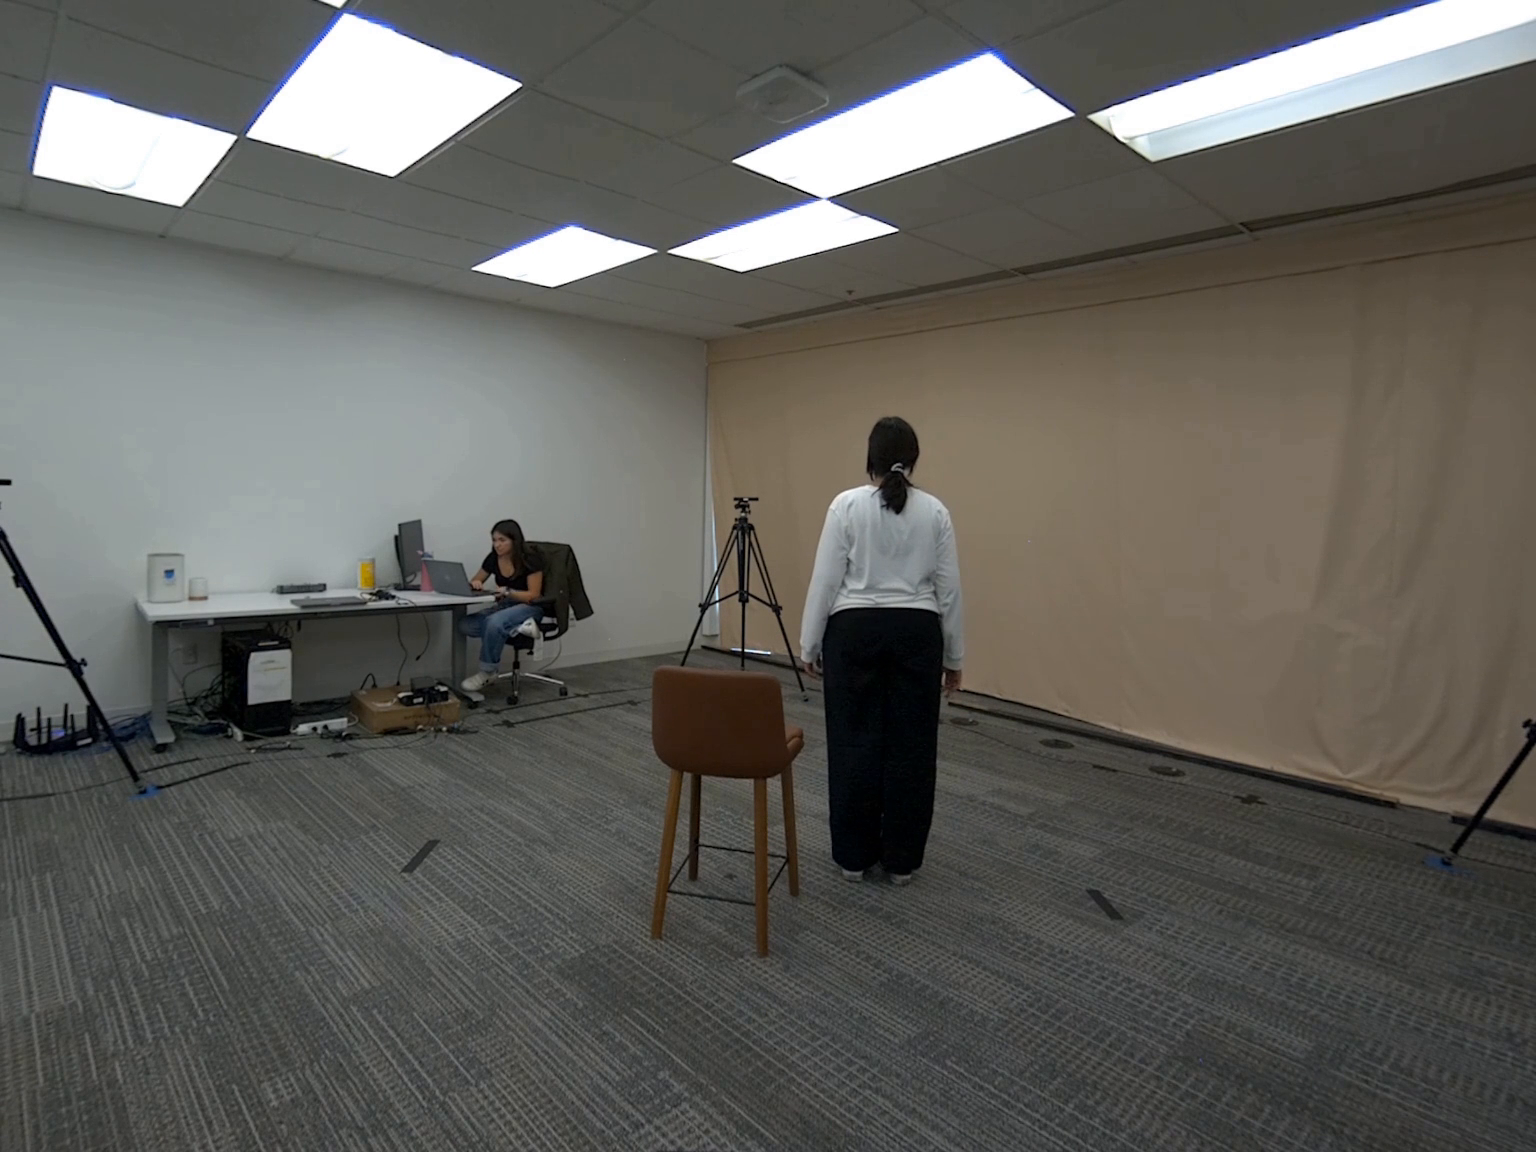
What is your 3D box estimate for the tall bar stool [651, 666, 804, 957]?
[{"bbox_3d":[-0.134,0.704,2.785,0.462,0.886,0.463,2,5,16],"label":"tall bar stool"}]
